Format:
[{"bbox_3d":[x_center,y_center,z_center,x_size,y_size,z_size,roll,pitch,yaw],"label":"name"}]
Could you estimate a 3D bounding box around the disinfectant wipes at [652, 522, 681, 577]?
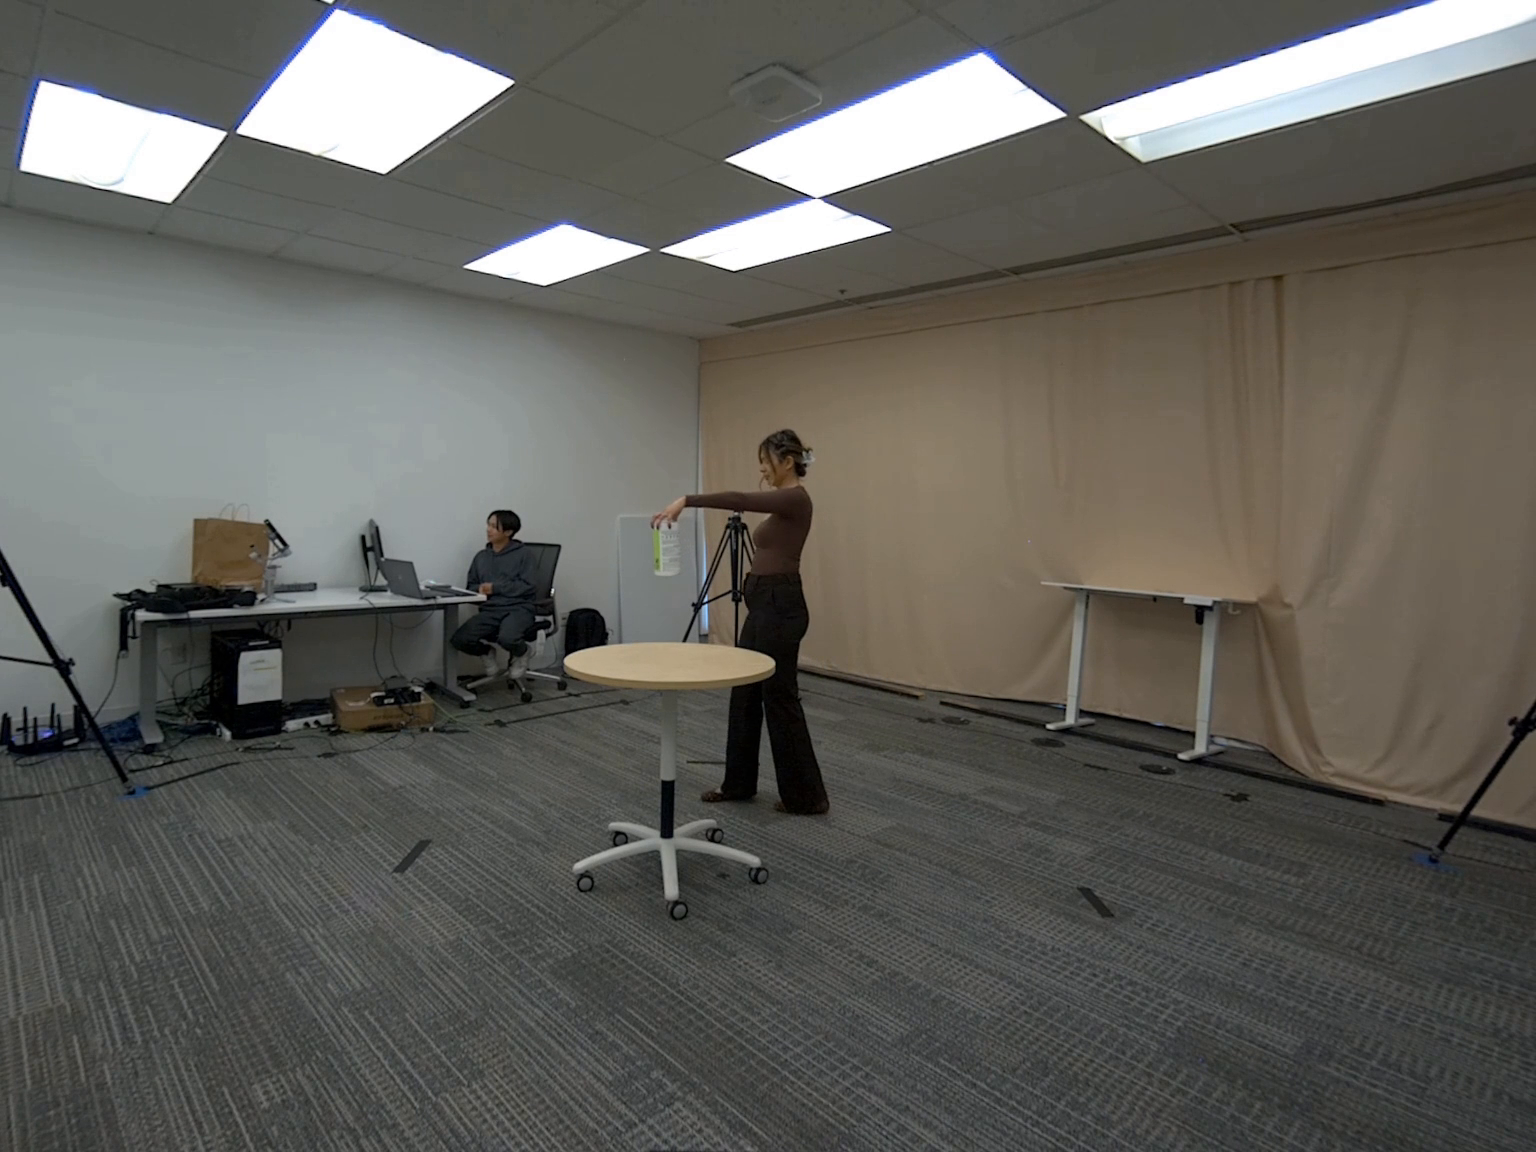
[{"bbox_3d":[-0.412,-0.111,3.389,0.118,0.216,0.118,-2,6,-1],"label":"disinfectant wipes"}]
